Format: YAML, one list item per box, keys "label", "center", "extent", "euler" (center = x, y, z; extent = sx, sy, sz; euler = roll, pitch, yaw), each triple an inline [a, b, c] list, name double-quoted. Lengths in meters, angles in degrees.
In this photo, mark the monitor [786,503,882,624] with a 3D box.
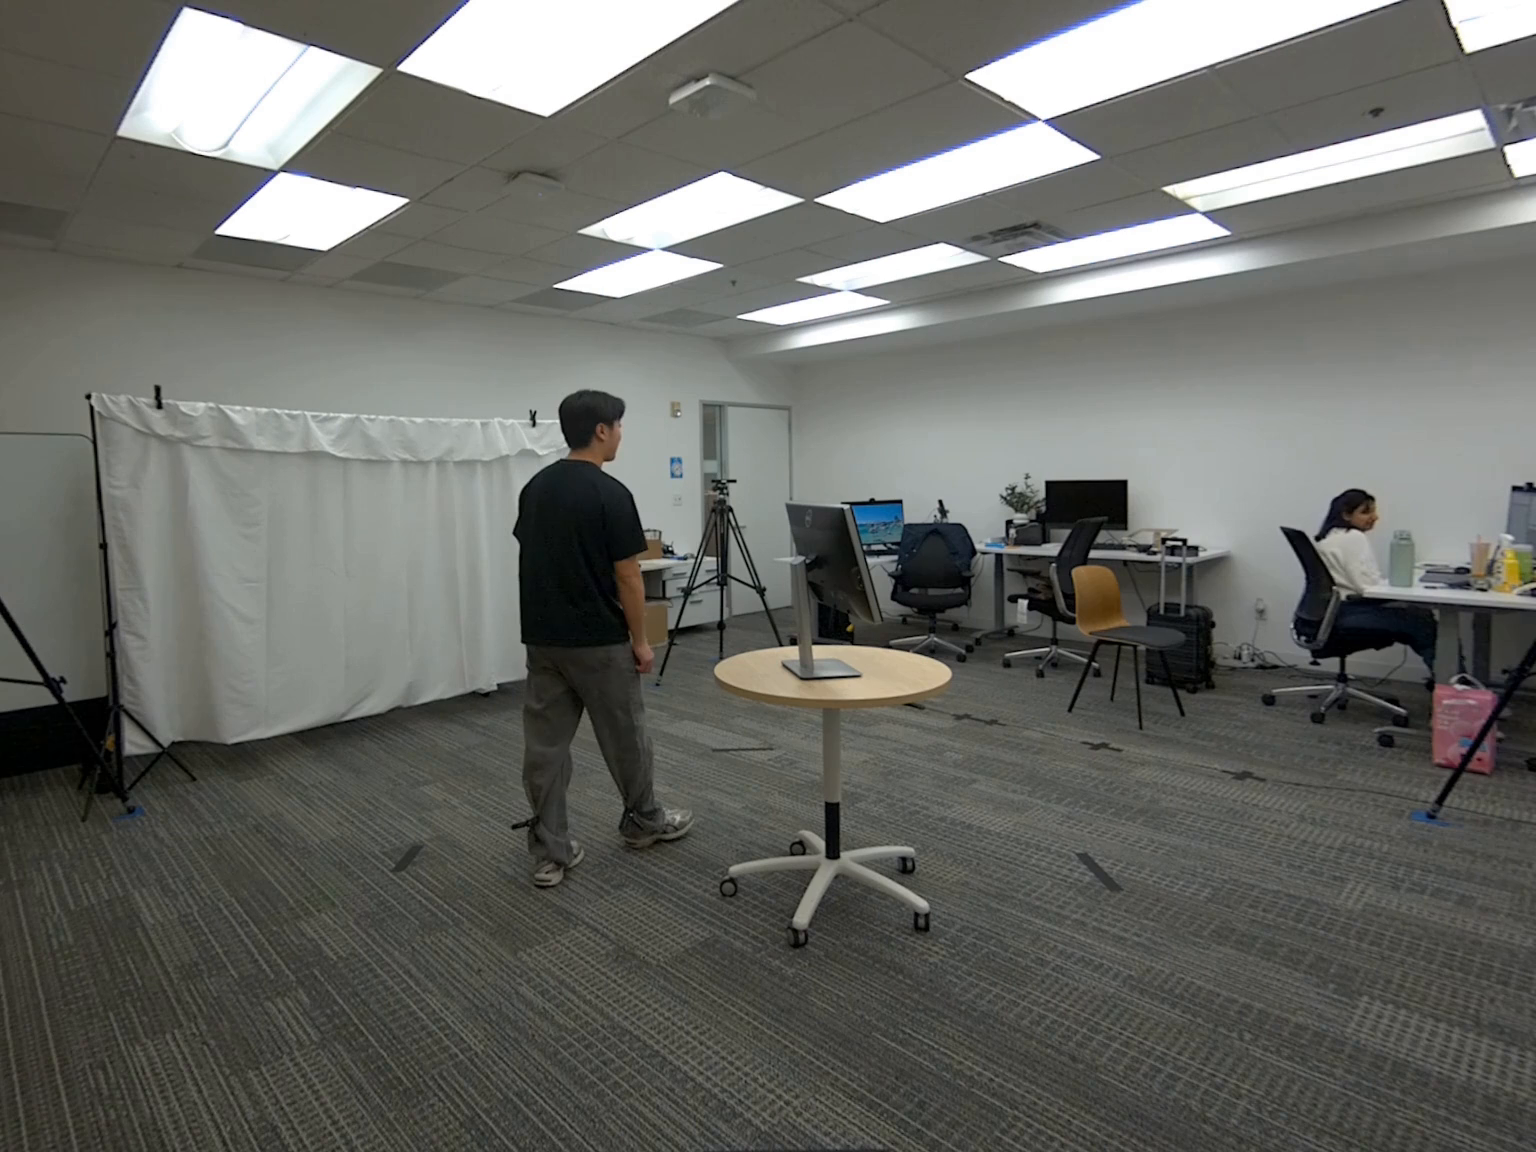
- label: "monitor"
  center: [0.176, 0.045, 2.754]
  extent: [0.220, 0.563, 0.571]
  euler: [-1, 5, -13]
